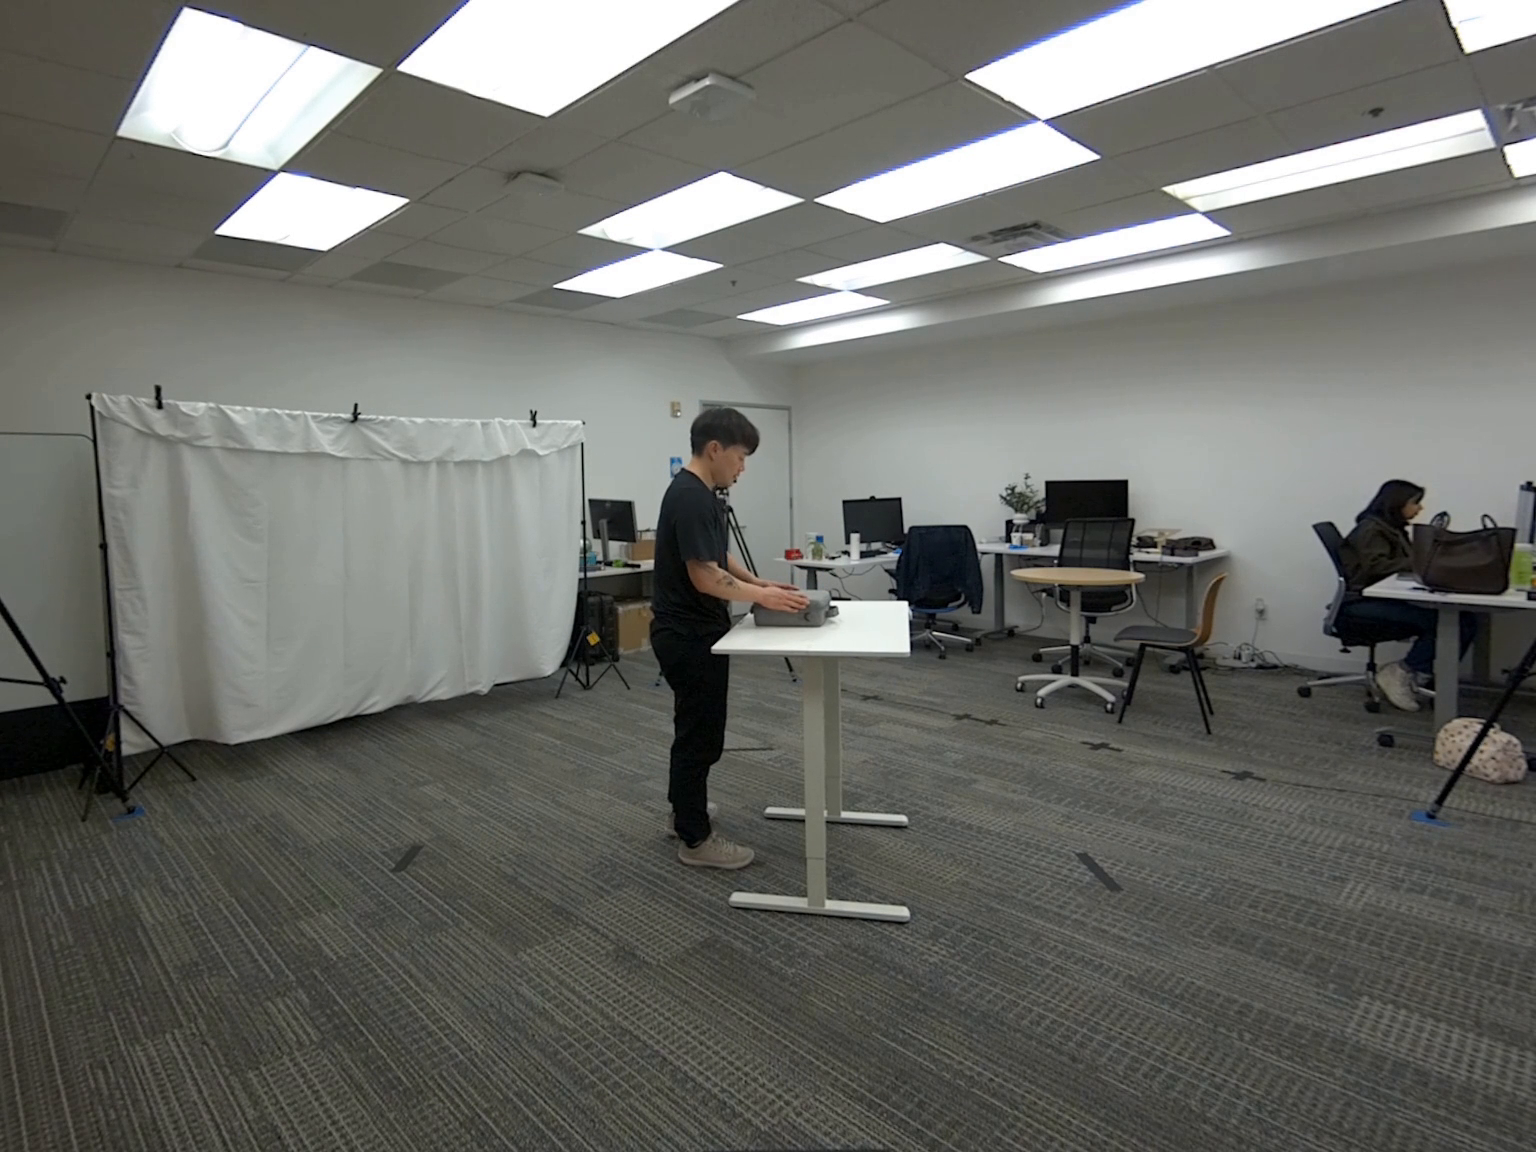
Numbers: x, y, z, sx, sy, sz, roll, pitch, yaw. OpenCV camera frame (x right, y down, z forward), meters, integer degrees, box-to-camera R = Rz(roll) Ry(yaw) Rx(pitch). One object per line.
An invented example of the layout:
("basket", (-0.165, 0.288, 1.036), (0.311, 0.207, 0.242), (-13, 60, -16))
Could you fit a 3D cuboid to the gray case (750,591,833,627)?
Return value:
("gray case", (0.097, 0.113, 3.088), (0.264, 0.104, 0.254), (0, 5, 13))
